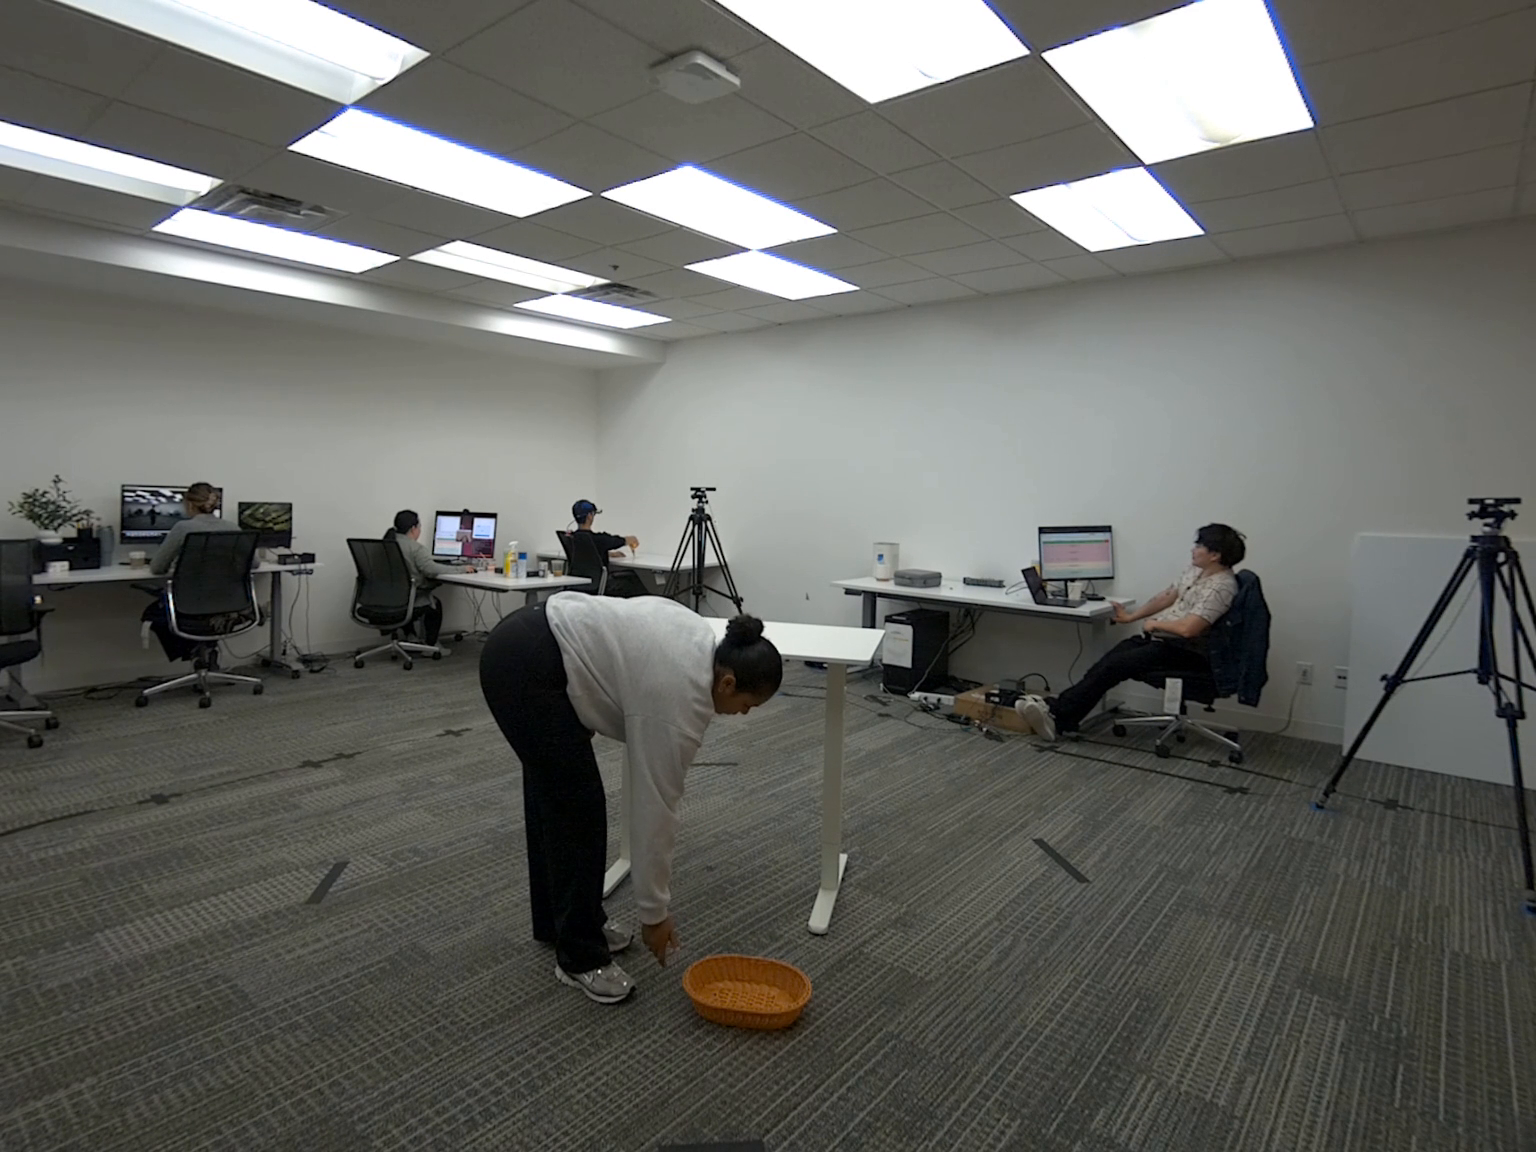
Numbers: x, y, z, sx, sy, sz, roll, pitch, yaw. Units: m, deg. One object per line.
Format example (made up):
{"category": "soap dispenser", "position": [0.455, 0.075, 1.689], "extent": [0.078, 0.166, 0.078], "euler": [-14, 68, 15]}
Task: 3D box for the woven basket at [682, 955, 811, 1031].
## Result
{"category": "woven basket", "position": [-0.061, 1.118, 2.277], "extent": [0.356, 0.073, 0.249], "euler": [2, 5, 14]}
